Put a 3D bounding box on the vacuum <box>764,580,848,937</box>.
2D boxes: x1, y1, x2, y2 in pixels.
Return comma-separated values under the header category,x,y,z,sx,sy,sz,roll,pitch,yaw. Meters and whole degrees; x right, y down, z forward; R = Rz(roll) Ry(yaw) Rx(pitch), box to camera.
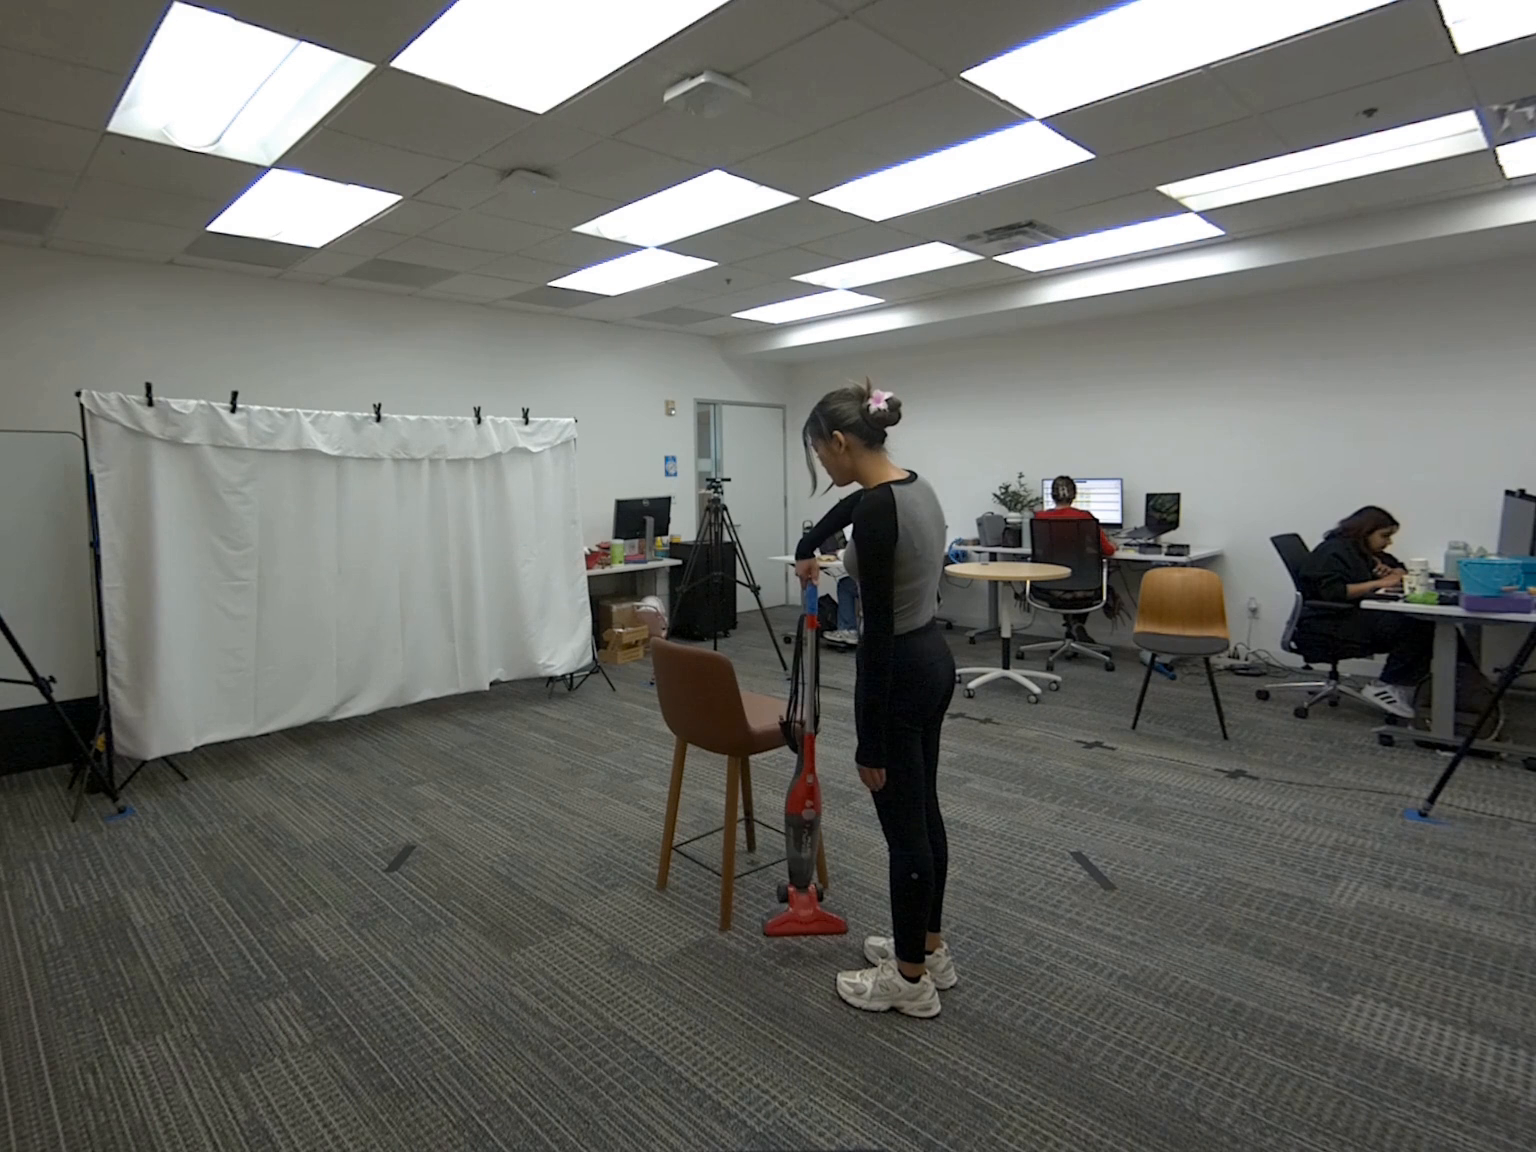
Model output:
category,x,y,z,sx,sy,sz,roll,pitch,yaw
vacuum,0.126,0.460,2.544,0.259,1.054,0.139,-1,-6,34
